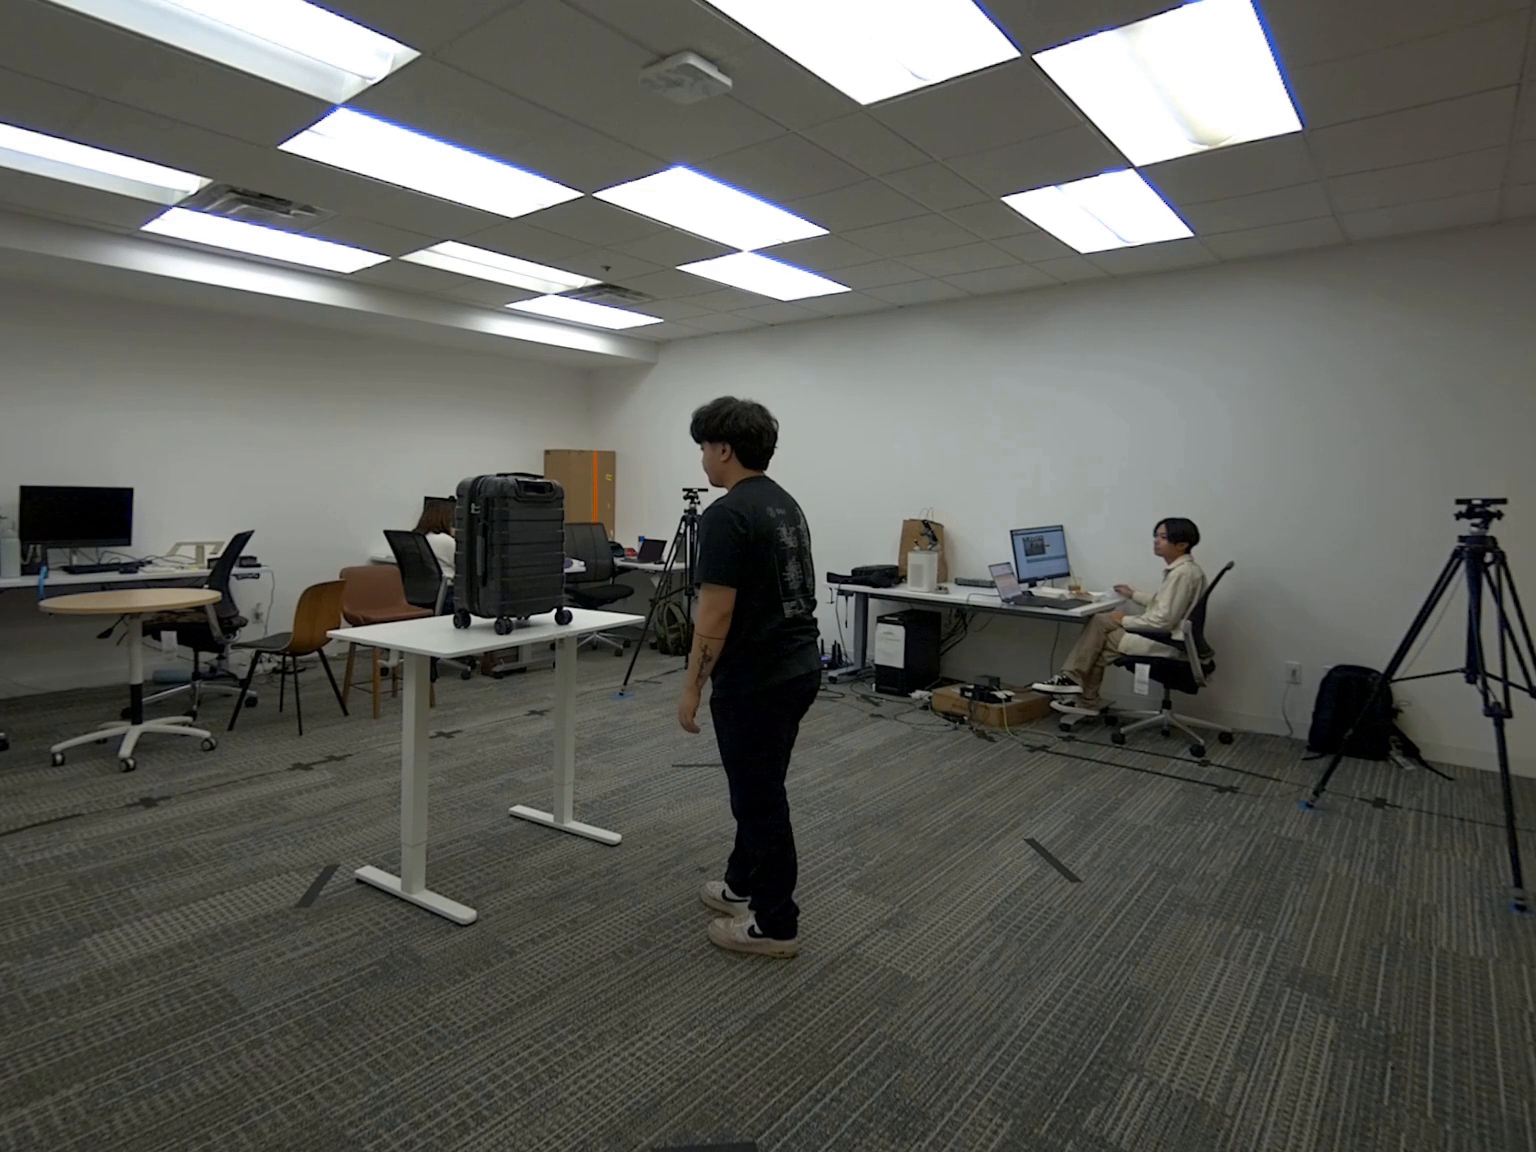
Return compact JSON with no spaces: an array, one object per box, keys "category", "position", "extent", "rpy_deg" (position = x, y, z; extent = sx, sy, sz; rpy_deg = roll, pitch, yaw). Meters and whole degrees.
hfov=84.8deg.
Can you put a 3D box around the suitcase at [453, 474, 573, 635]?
[{"category":"suitcase","position":[-0.940,-0.097,3.072],"extent":[0.256,0.548,0.365],"rpy_deg":[2,3,31]}]
